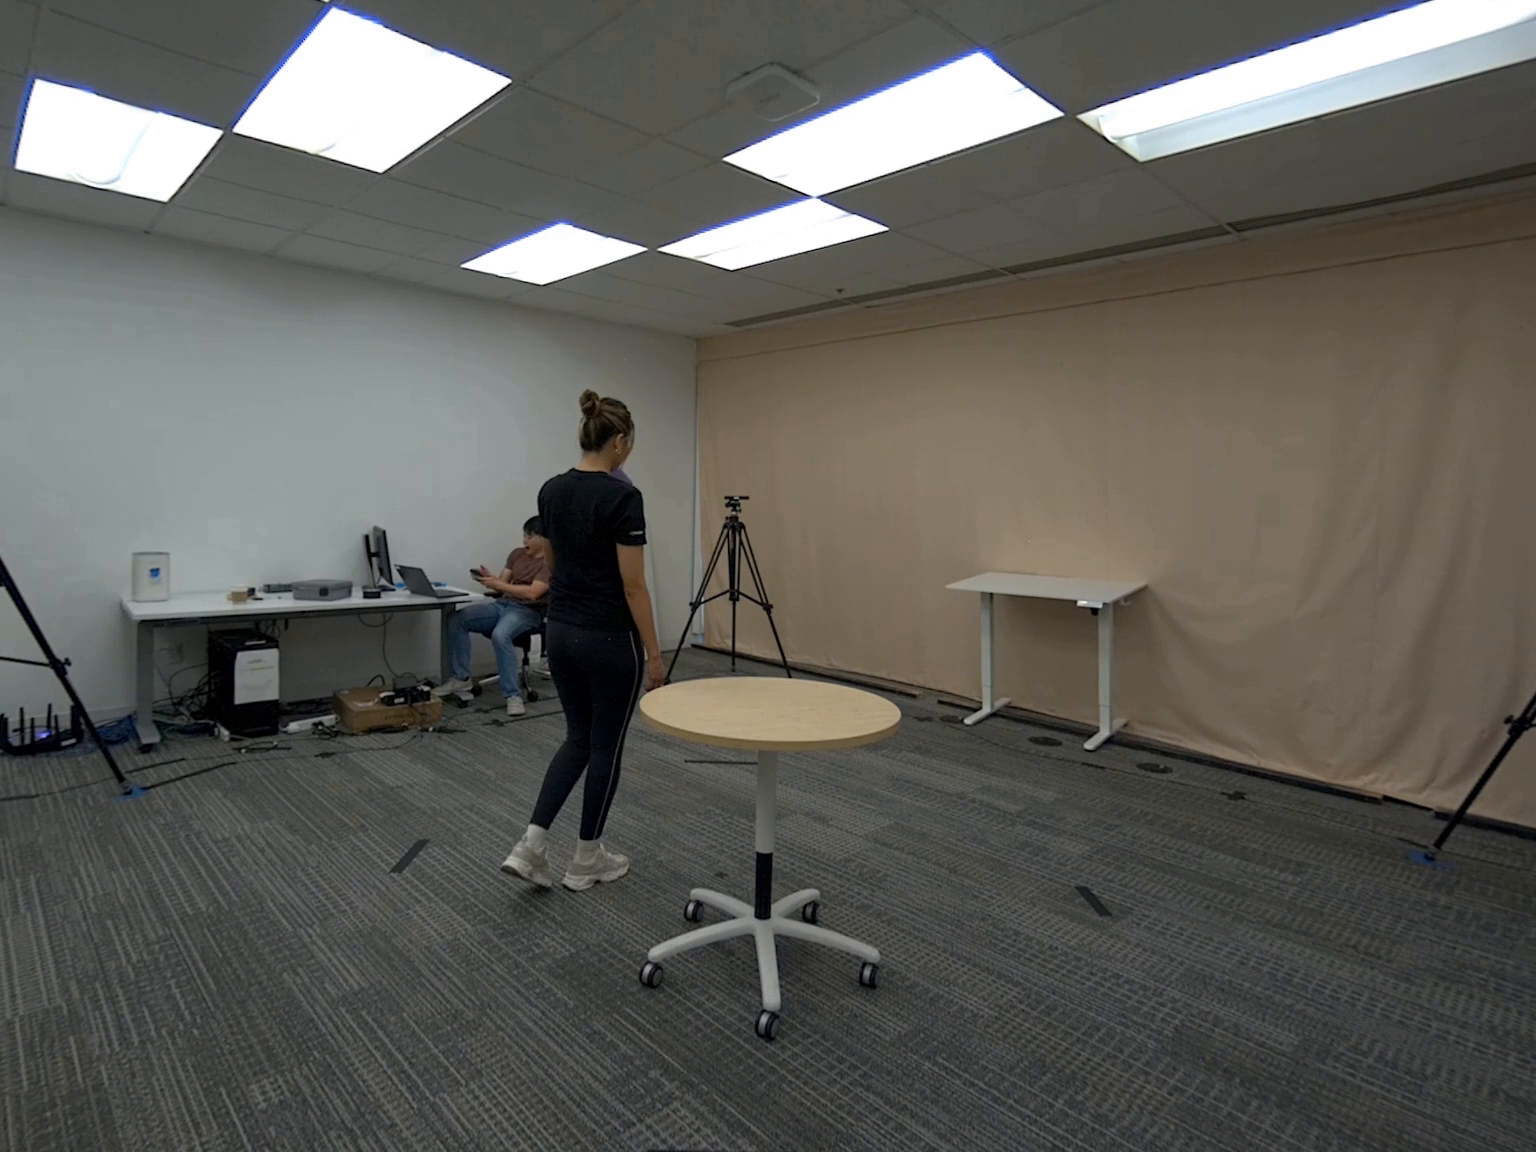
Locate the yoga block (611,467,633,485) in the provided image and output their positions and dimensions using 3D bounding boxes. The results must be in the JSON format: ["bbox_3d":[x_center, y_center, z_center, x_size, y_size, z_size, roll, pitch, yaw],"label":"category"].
[{"bbox_3d":[-0.668,-0.348,3.392,0.229,0.146,0.078,-45,21,-11],"label":"yoga block"}]
